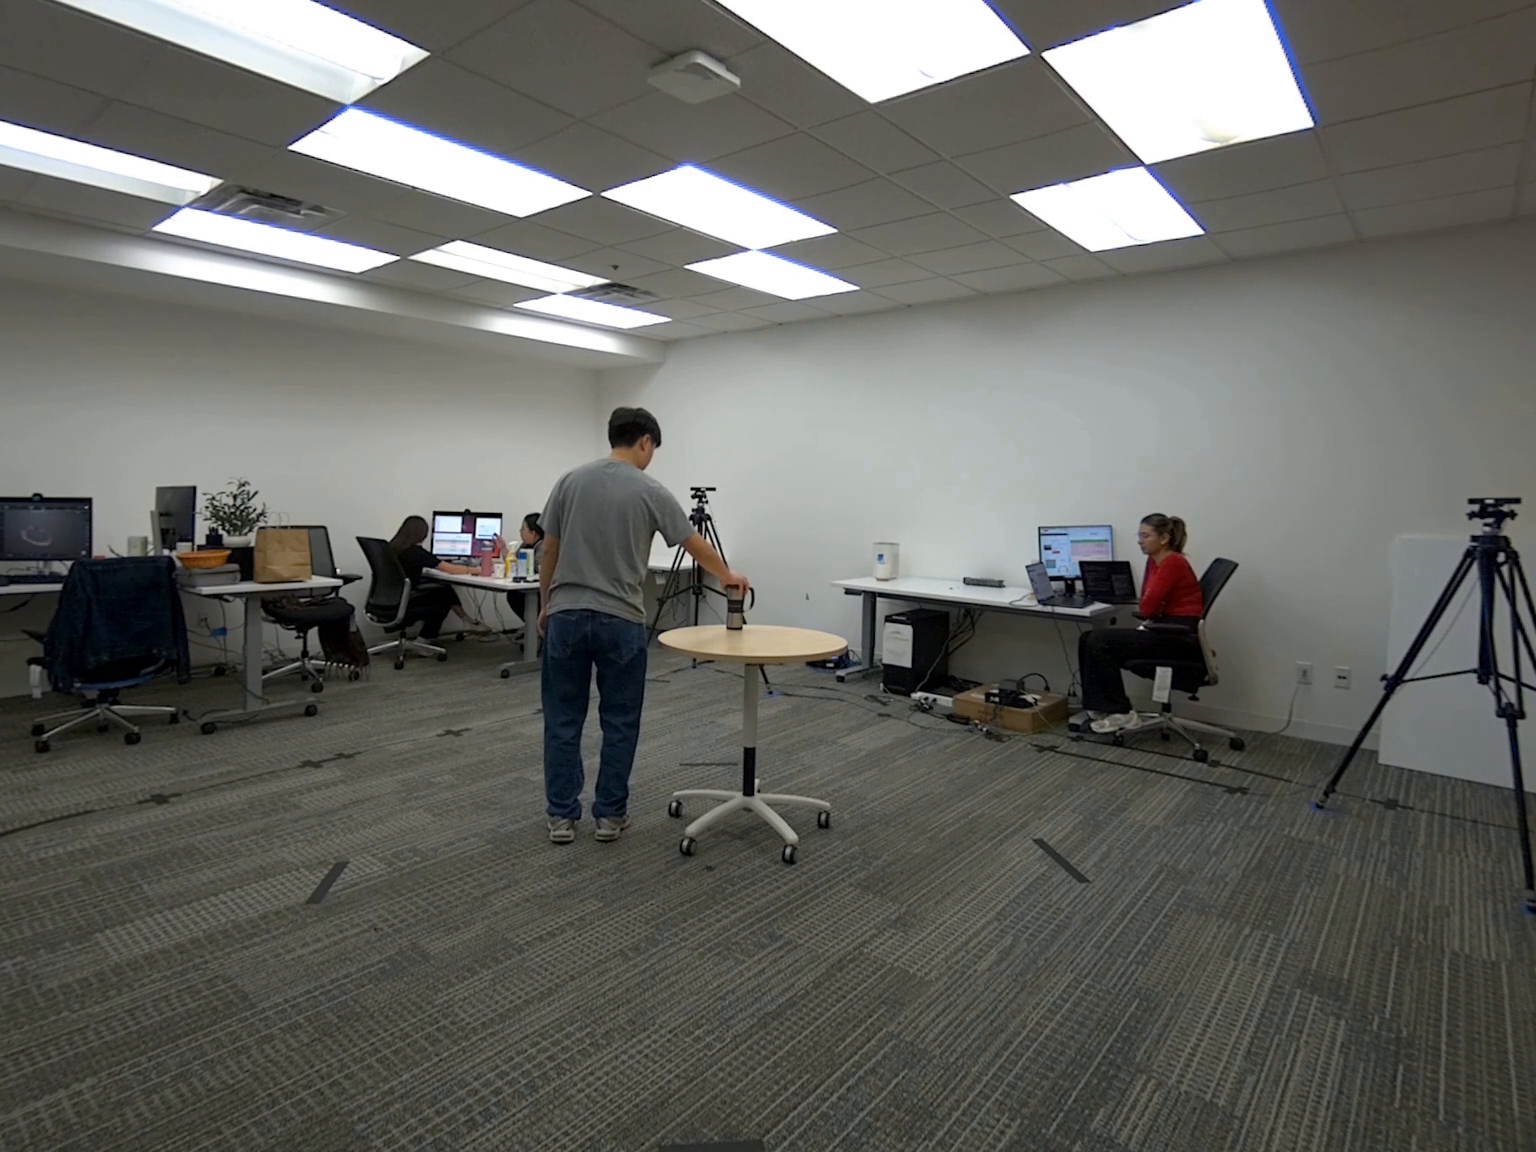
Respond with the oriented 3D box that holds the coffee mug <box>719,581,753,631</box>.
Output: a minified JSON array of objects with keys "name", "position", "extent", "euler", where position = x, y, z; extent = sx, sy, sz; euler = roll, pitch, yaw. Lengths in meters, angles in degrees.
[{"name":"coffee mug","position":[-0.141,0.127,3.676],"extent":[0.124,0.203,0.086],"euler":[-1,0,16]}]
